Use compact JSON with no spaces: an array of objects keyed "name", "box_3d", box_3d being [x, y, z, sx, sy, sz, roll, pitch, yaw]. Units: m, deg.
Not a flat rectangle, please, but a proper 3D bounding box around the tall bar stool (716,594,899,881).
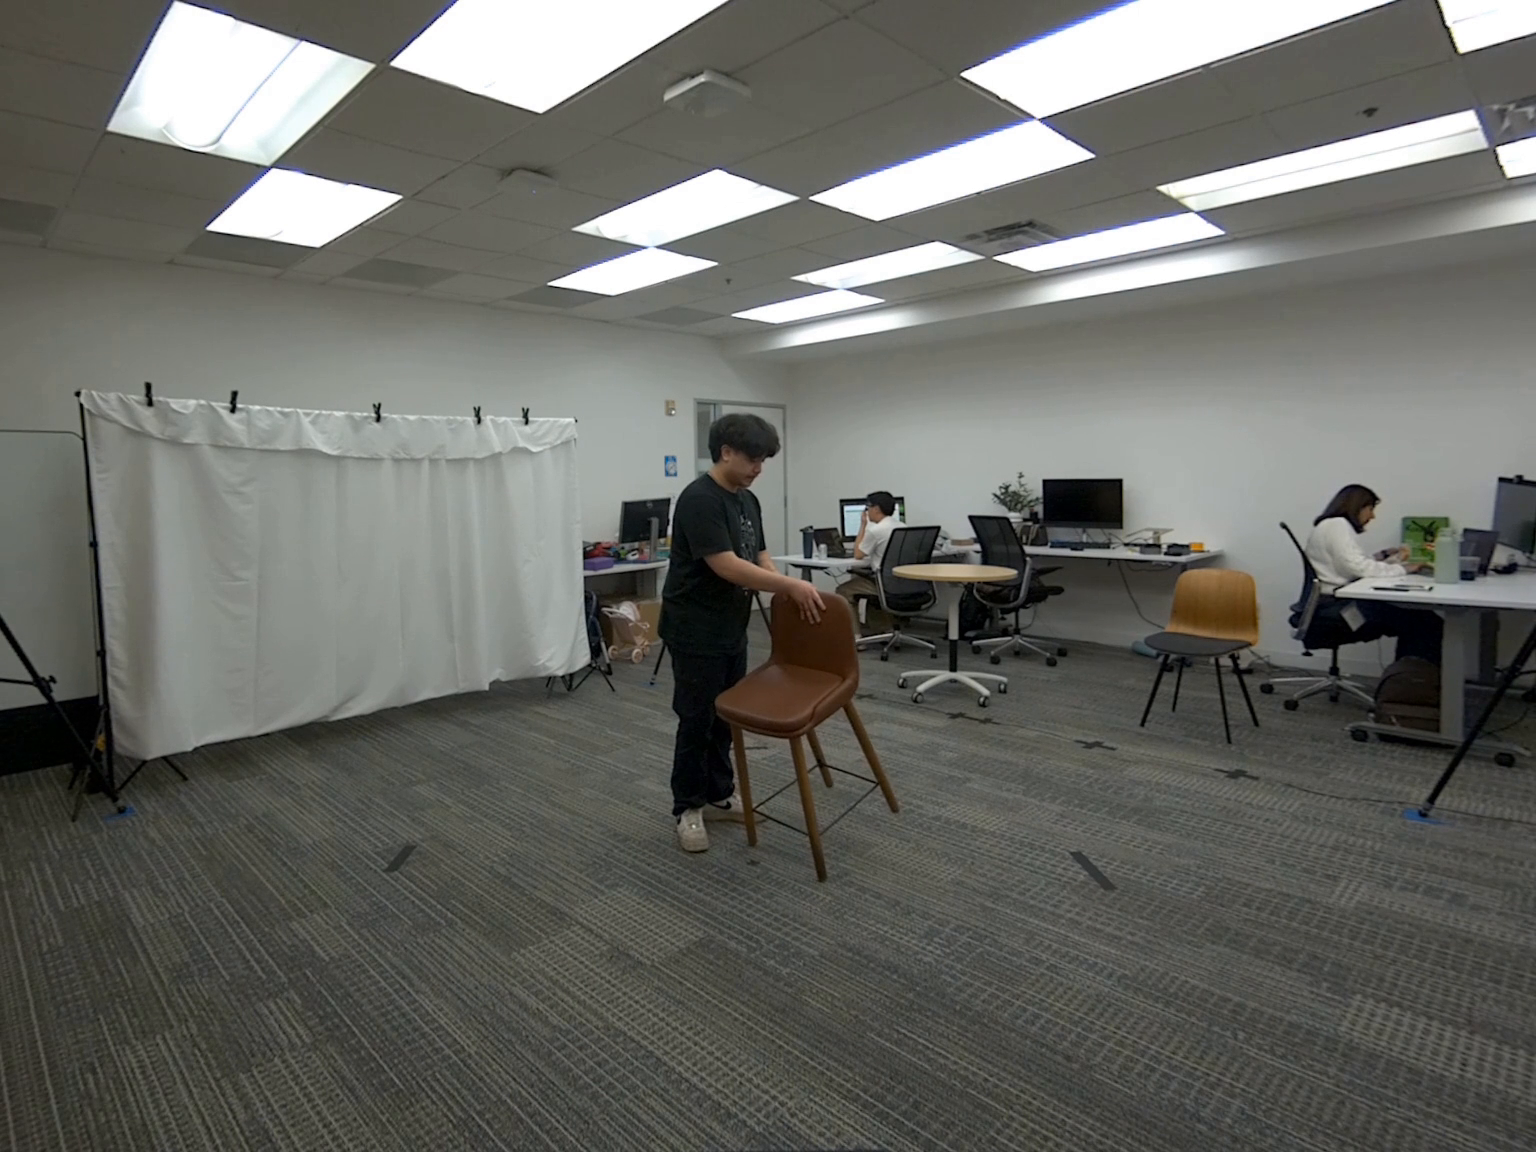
[{"name":"tall bar stool","box_3d":[0.116,0.553,3.121,0.461,0.876,0.470,-24,17,-36]}]
